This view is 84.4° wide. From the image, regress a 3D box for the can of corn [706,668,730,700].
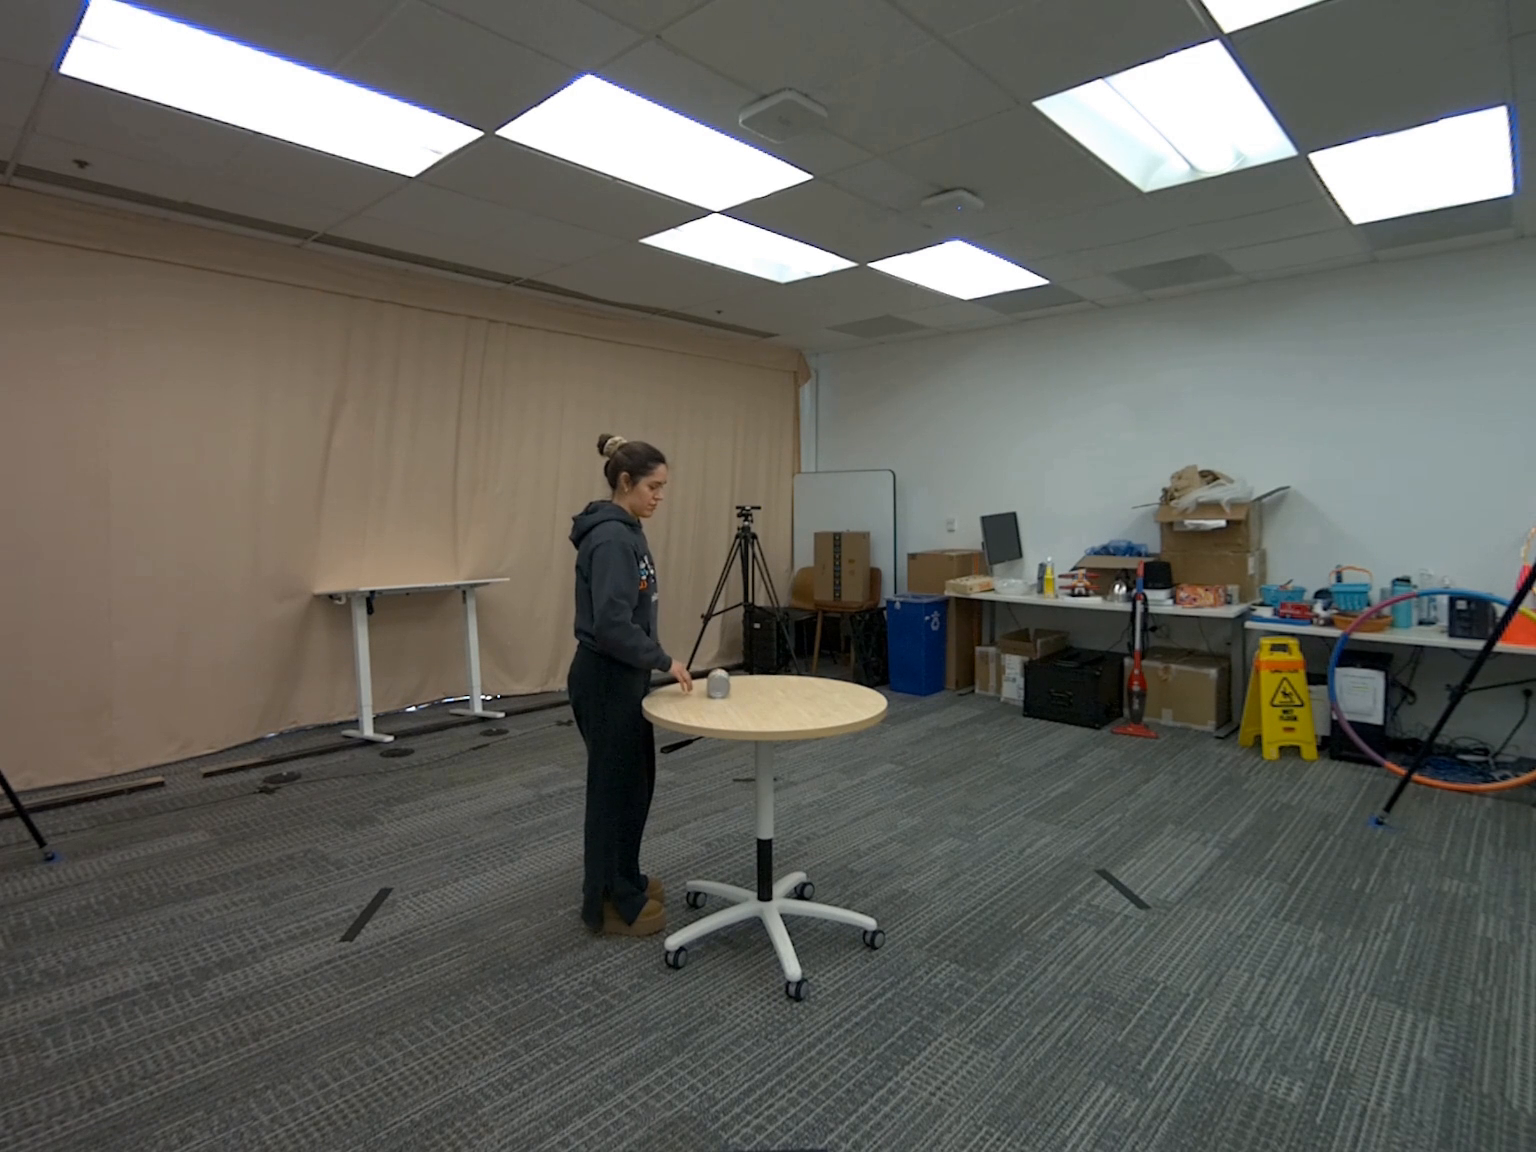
[{"bbox_3d":[-0.134,0.350,2.715,0.074,0.074,0.111,0,2,-4],"label":"can of corn"}]
